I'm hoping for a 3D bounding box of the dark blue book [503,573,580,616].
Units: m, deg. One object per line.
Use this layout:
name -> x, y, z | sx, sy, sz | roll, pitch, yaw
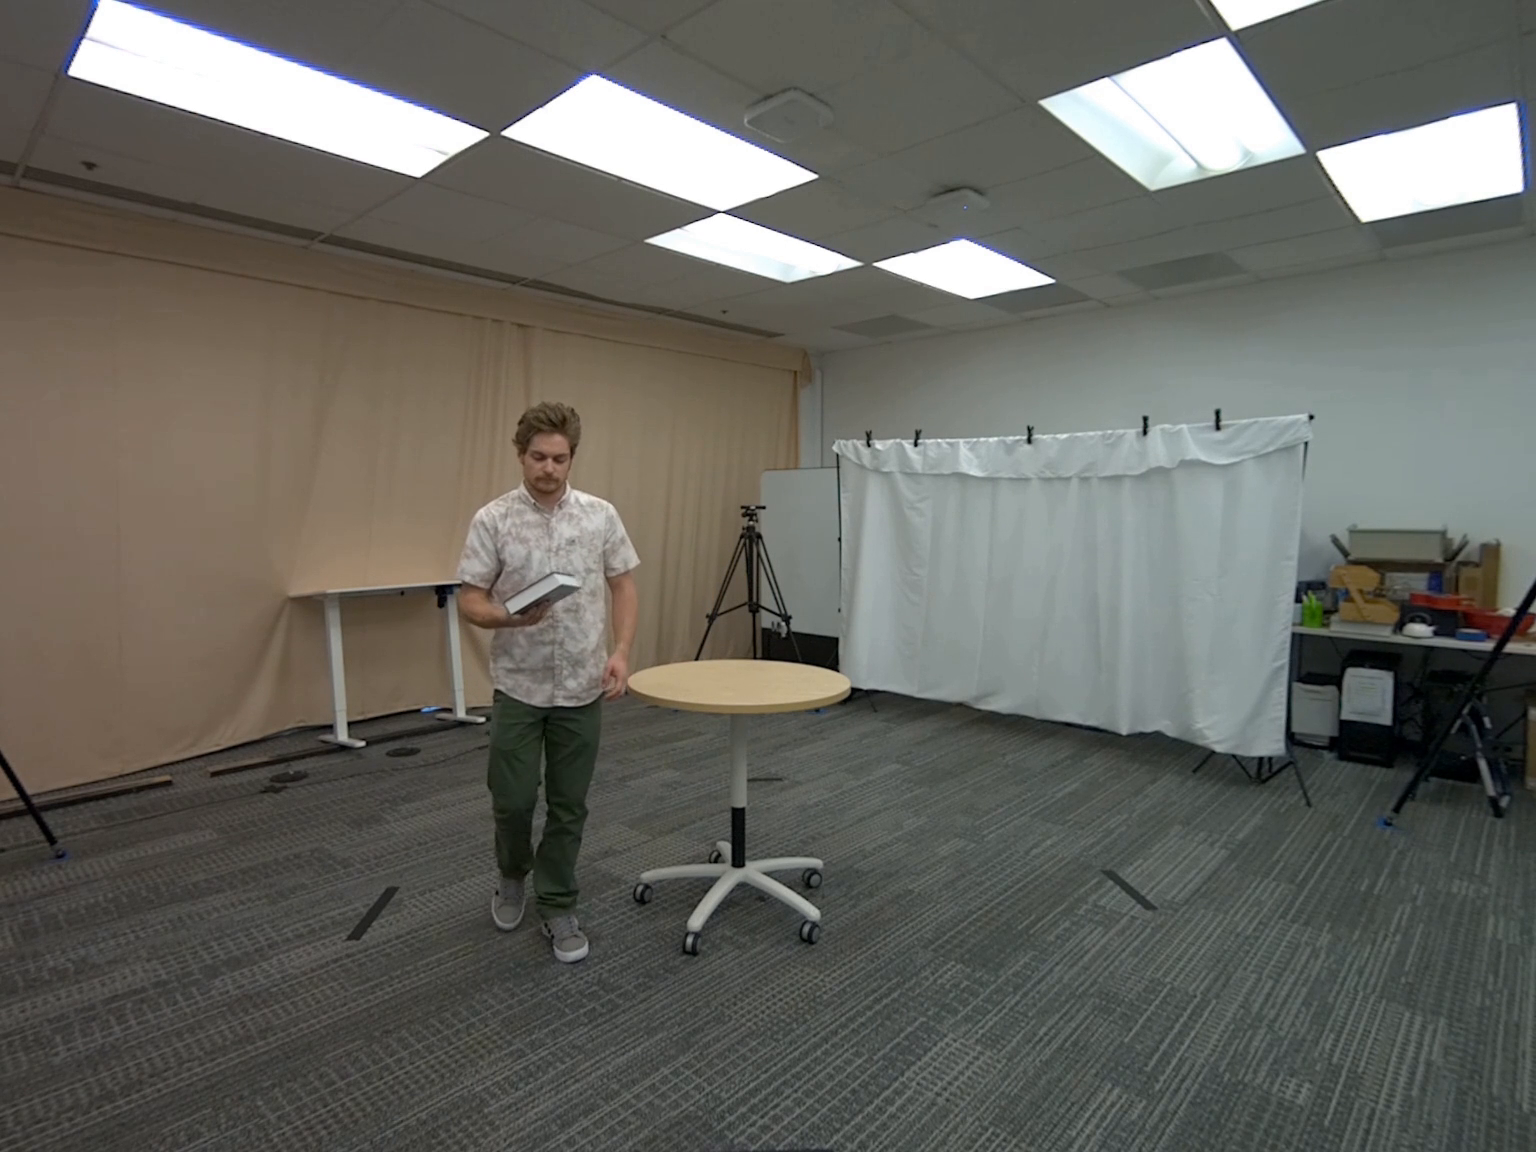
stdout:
dark blue book -> -0.627, 0.051, 2.352 | 0.163, 0.045, 0.244 | -31, -2, -1
